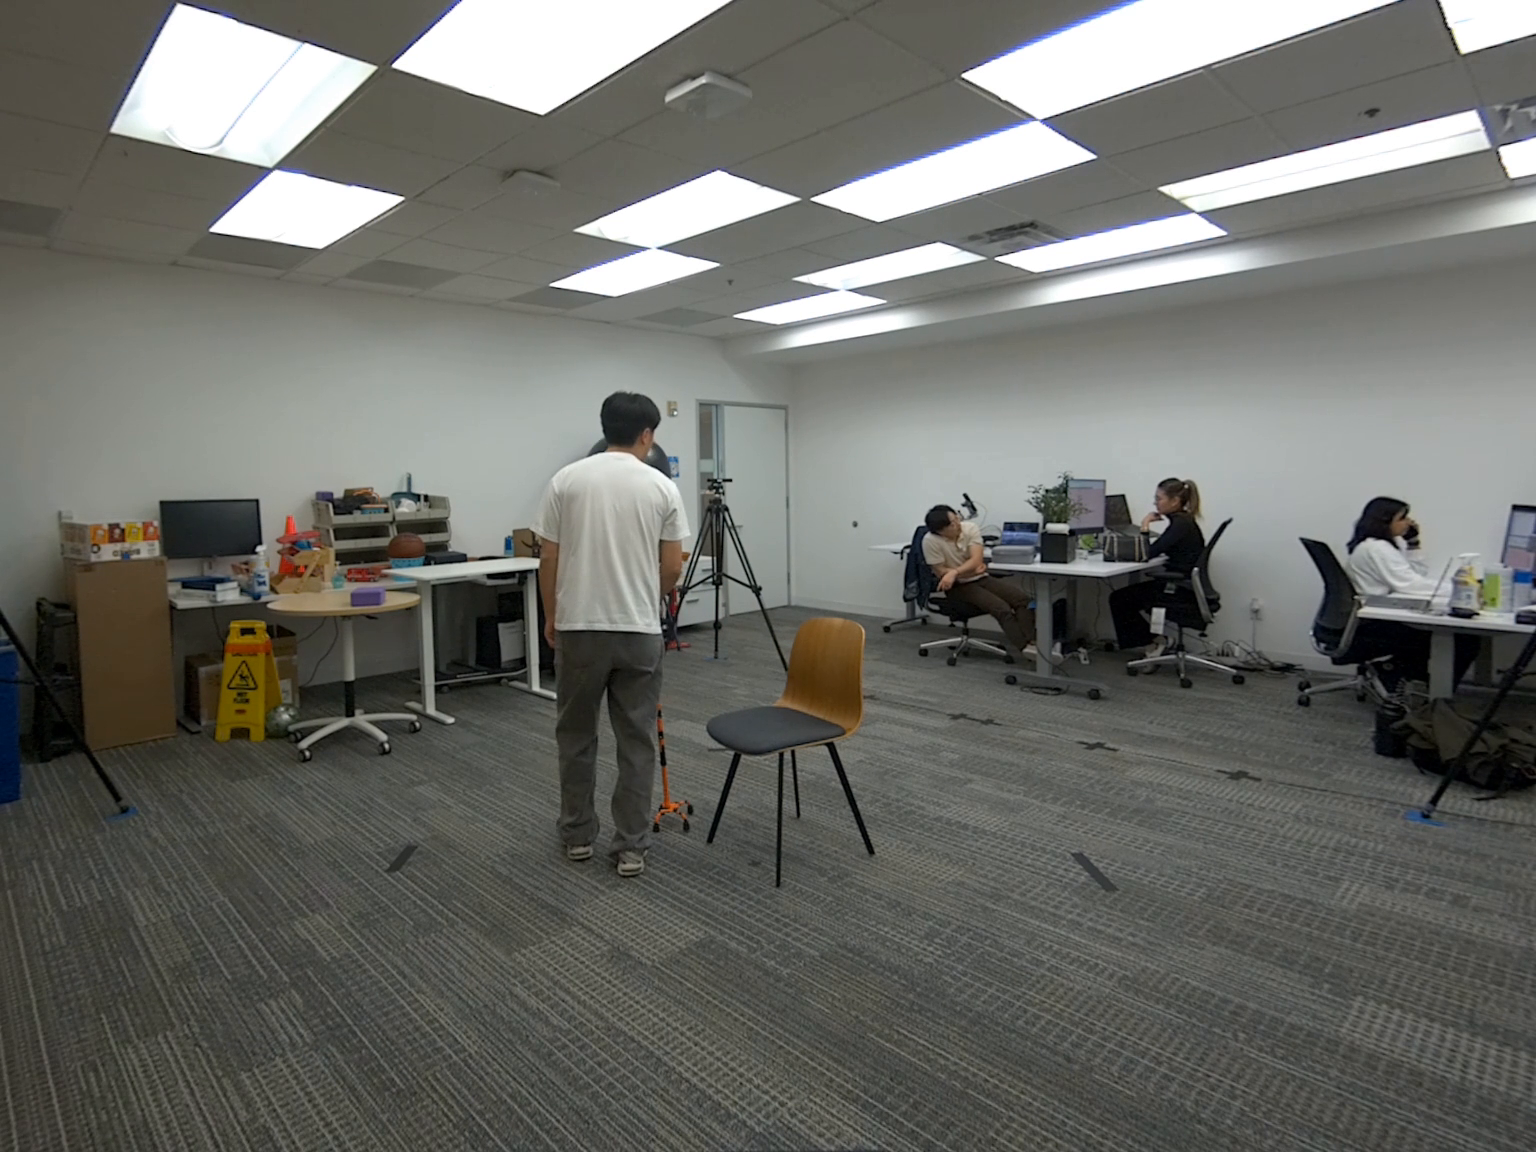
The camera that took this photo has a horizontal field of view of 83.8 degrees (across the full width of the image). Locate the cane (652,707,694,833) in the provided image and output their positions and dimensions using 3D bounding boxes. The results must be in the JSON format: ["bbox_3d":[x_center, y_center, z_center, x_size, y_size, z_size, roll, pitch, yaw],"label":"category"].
[{"bbox_3d":[-0.421,0.554,3.483,0.152,0.906,0.206,-5,2,1],"label":"cane"}]
